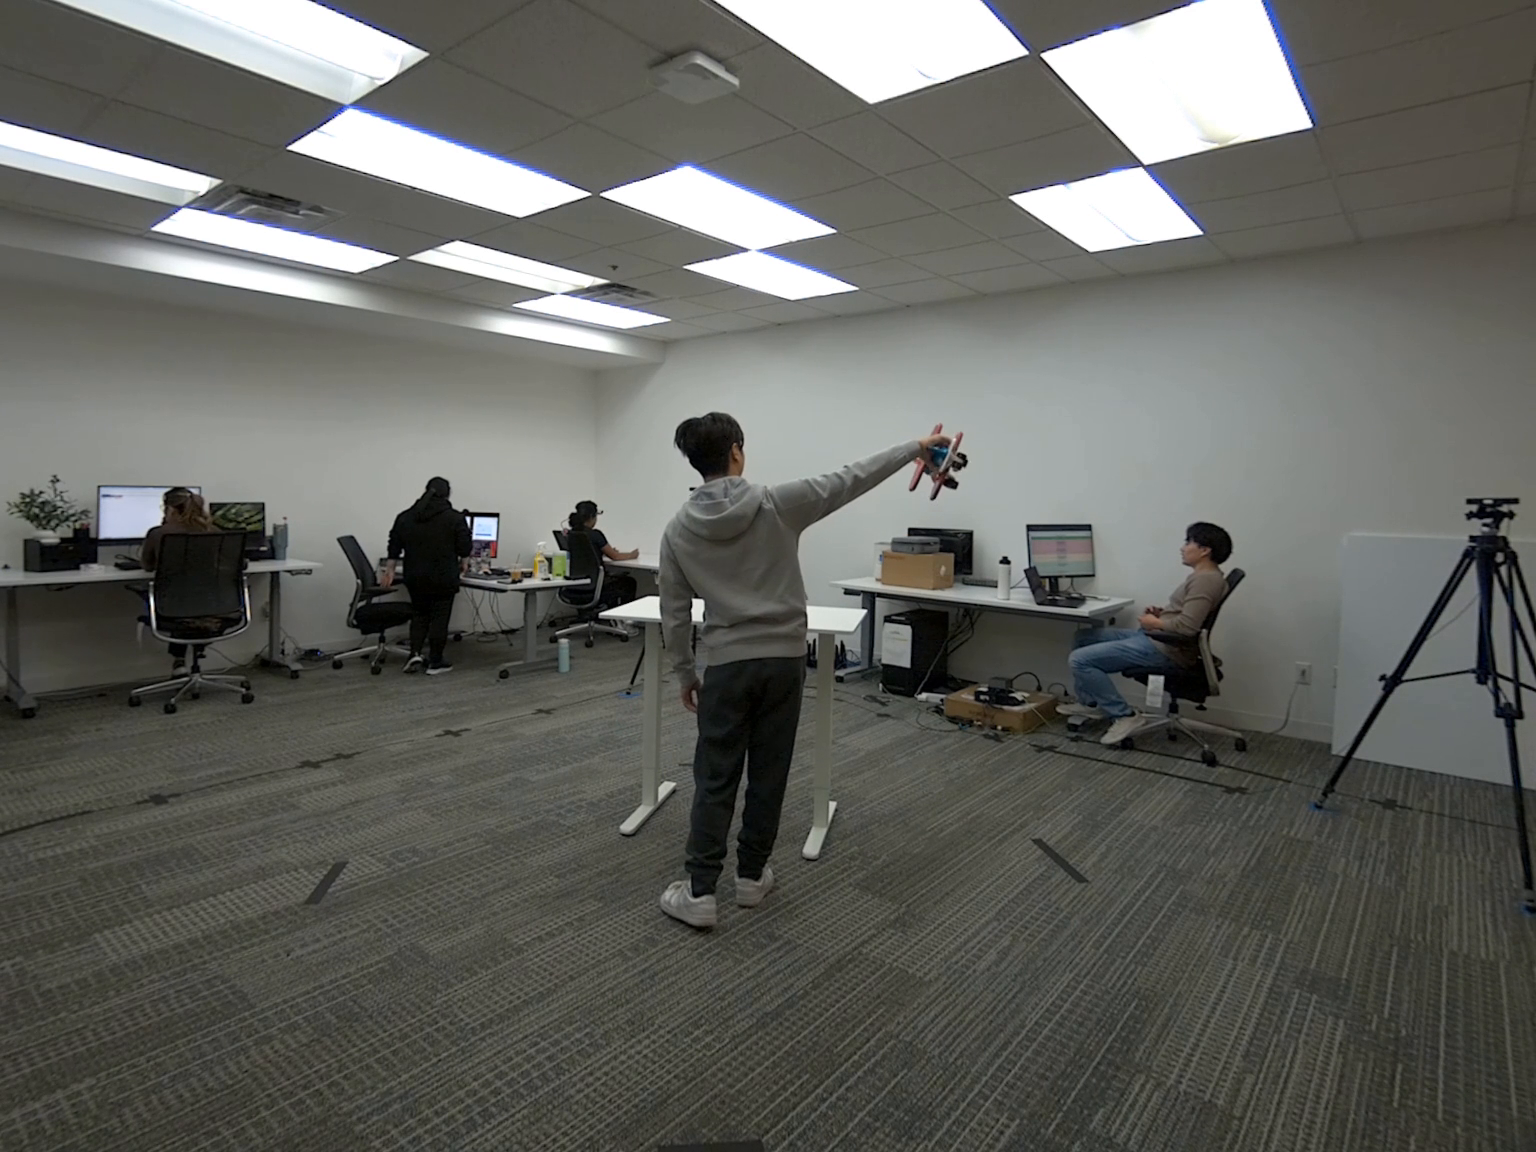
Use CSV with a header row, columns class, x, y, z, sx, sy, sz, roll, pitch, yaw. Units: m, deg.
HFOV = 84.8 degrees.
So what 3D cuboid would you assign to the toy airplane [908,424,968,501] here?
class,x,y,z,sx,sy,sz,roll,pitch,yaw
toy airplane,0.598,-0.404,2.901,0.160,0.253,0.252,22,-31,14
